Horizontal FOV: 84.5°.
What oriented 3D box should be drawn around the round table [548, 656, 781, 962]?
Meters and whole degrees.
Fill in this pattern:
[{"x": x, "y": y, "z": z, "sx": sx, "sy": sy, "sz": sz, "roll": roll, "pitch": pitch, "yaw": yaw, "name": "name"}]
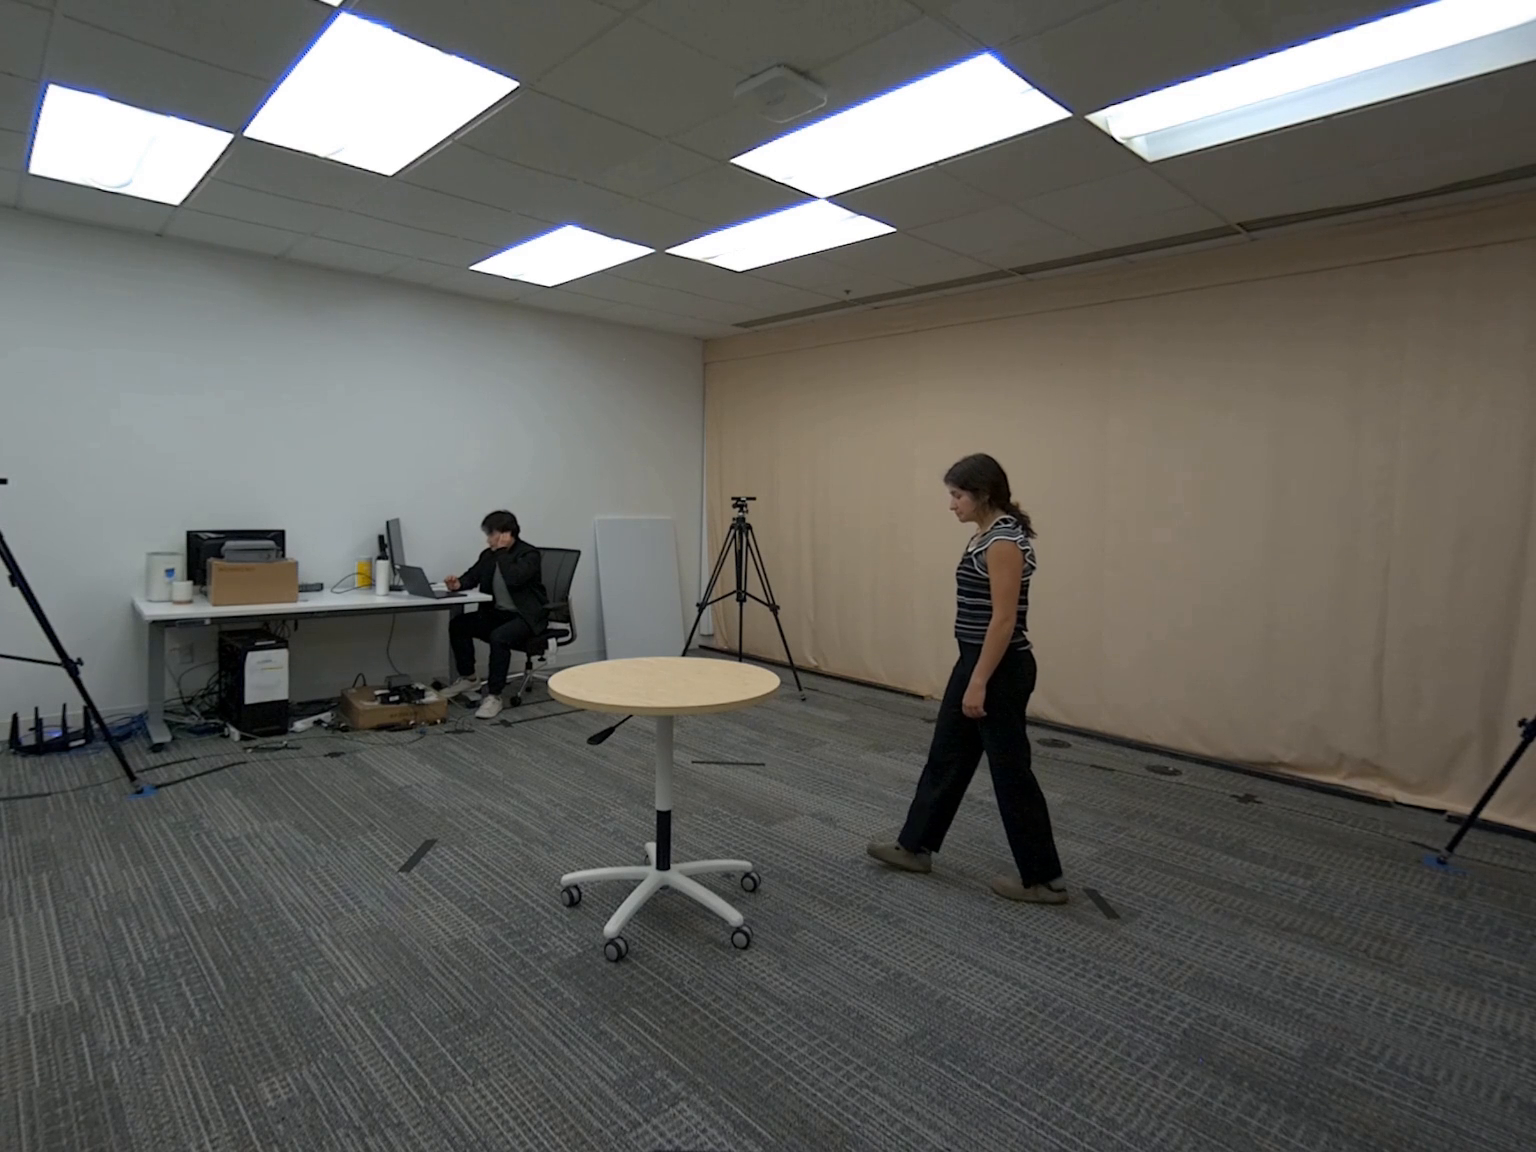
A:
[{"x": -0.346, "y": 0.733, "z": 2.829, "sx": 0.784, "sy": 0.784, "sz": 0.788, "roll": 1, "pitch": 5, "yaw": -1, "name": "round table"}]
